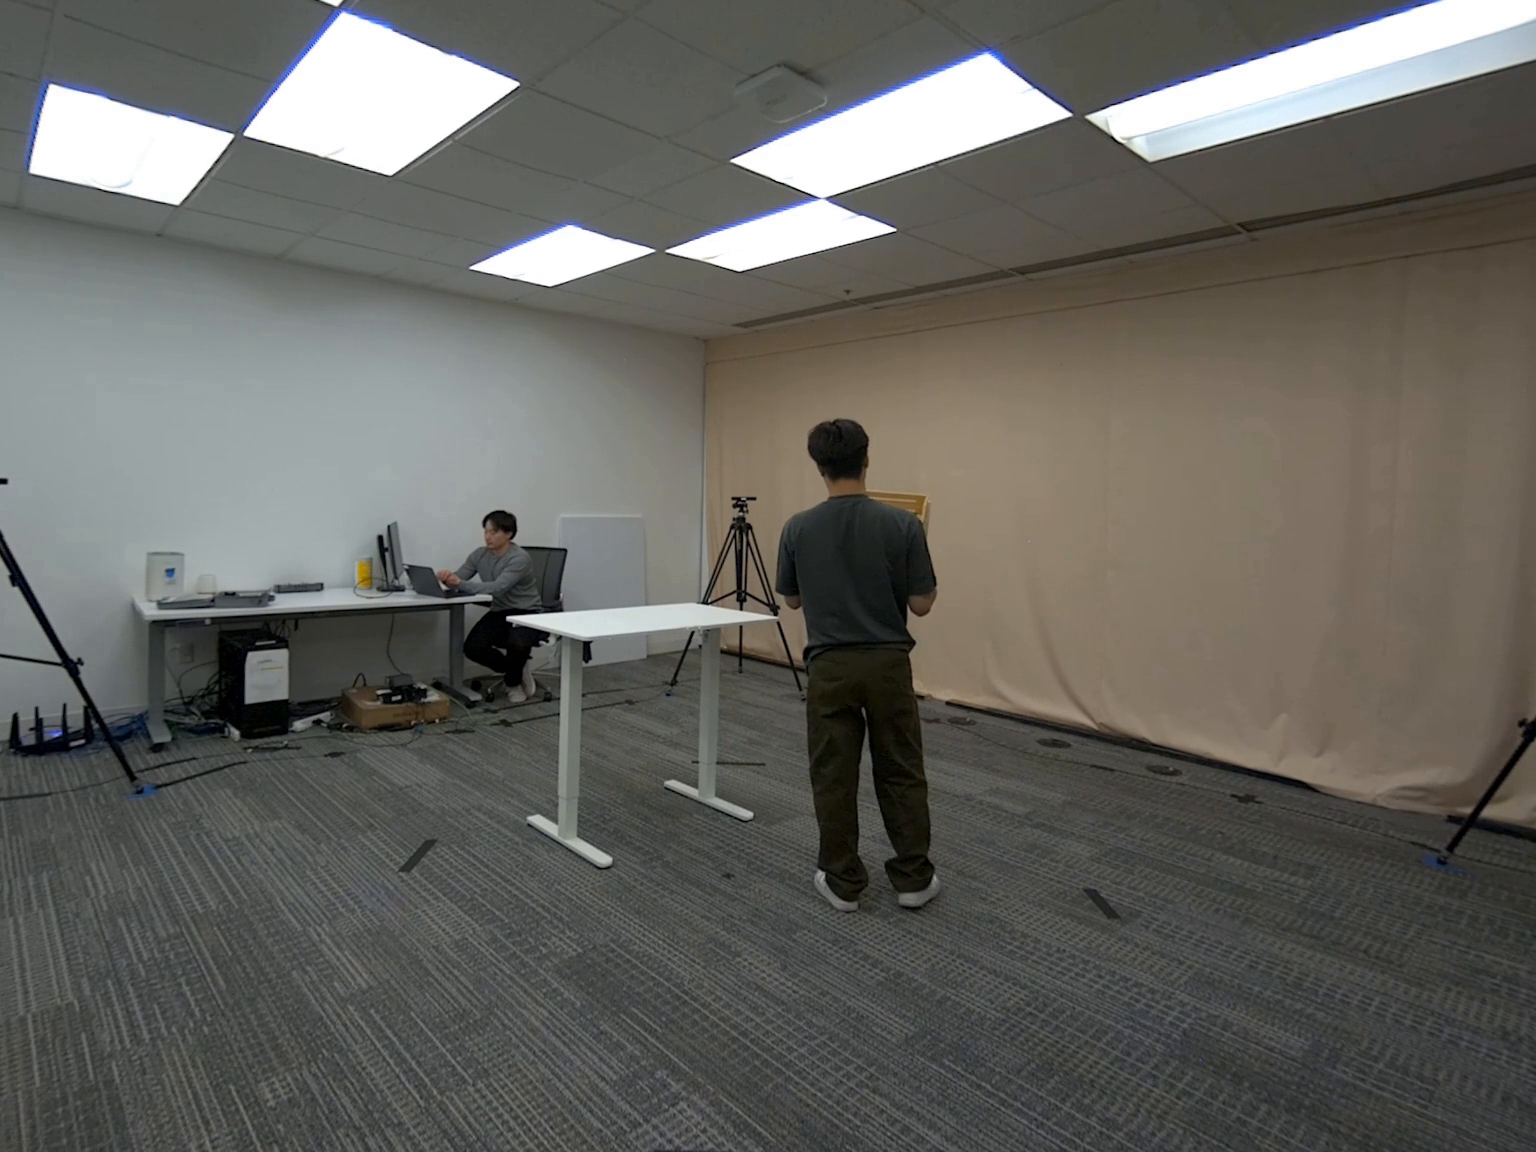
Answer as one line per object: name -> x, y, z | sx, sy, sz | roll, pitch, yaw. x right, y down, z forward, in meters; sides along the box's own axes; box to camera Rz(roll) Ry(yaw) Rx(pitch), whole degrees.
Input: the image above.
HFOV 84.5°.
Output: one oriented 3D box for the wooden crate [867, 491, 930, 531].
wooden crate -> 0.435, -0.153, 3.155 | 0.329, 0.269, 0.302 | 6, 20, 15
